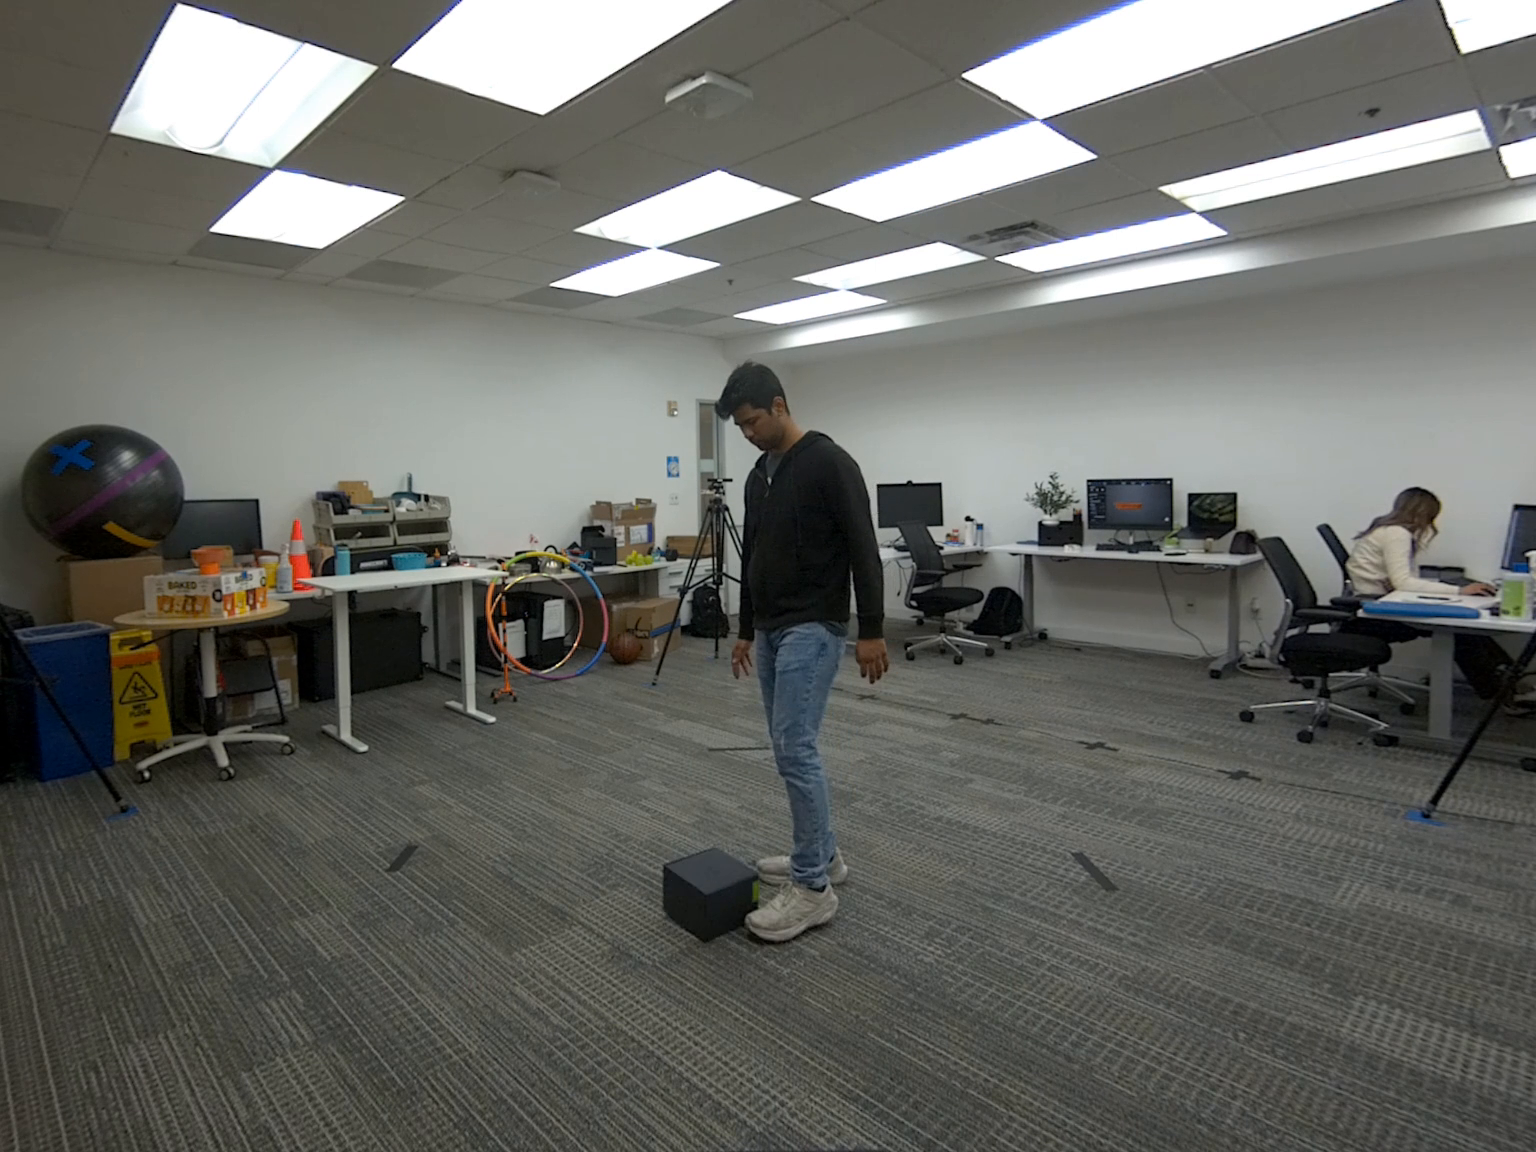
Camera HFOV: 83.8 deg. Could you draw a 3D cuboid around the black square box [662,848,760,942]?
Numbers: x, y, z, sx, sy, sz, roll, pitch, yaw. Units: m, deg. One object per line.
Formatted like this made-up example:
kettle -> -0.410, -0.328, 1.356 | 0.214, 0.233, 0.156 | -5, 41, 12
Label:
black square box -> -0.167, 1.002, 2.715 | 0.211, 0.155, 0.235 | -6, 10, -40
